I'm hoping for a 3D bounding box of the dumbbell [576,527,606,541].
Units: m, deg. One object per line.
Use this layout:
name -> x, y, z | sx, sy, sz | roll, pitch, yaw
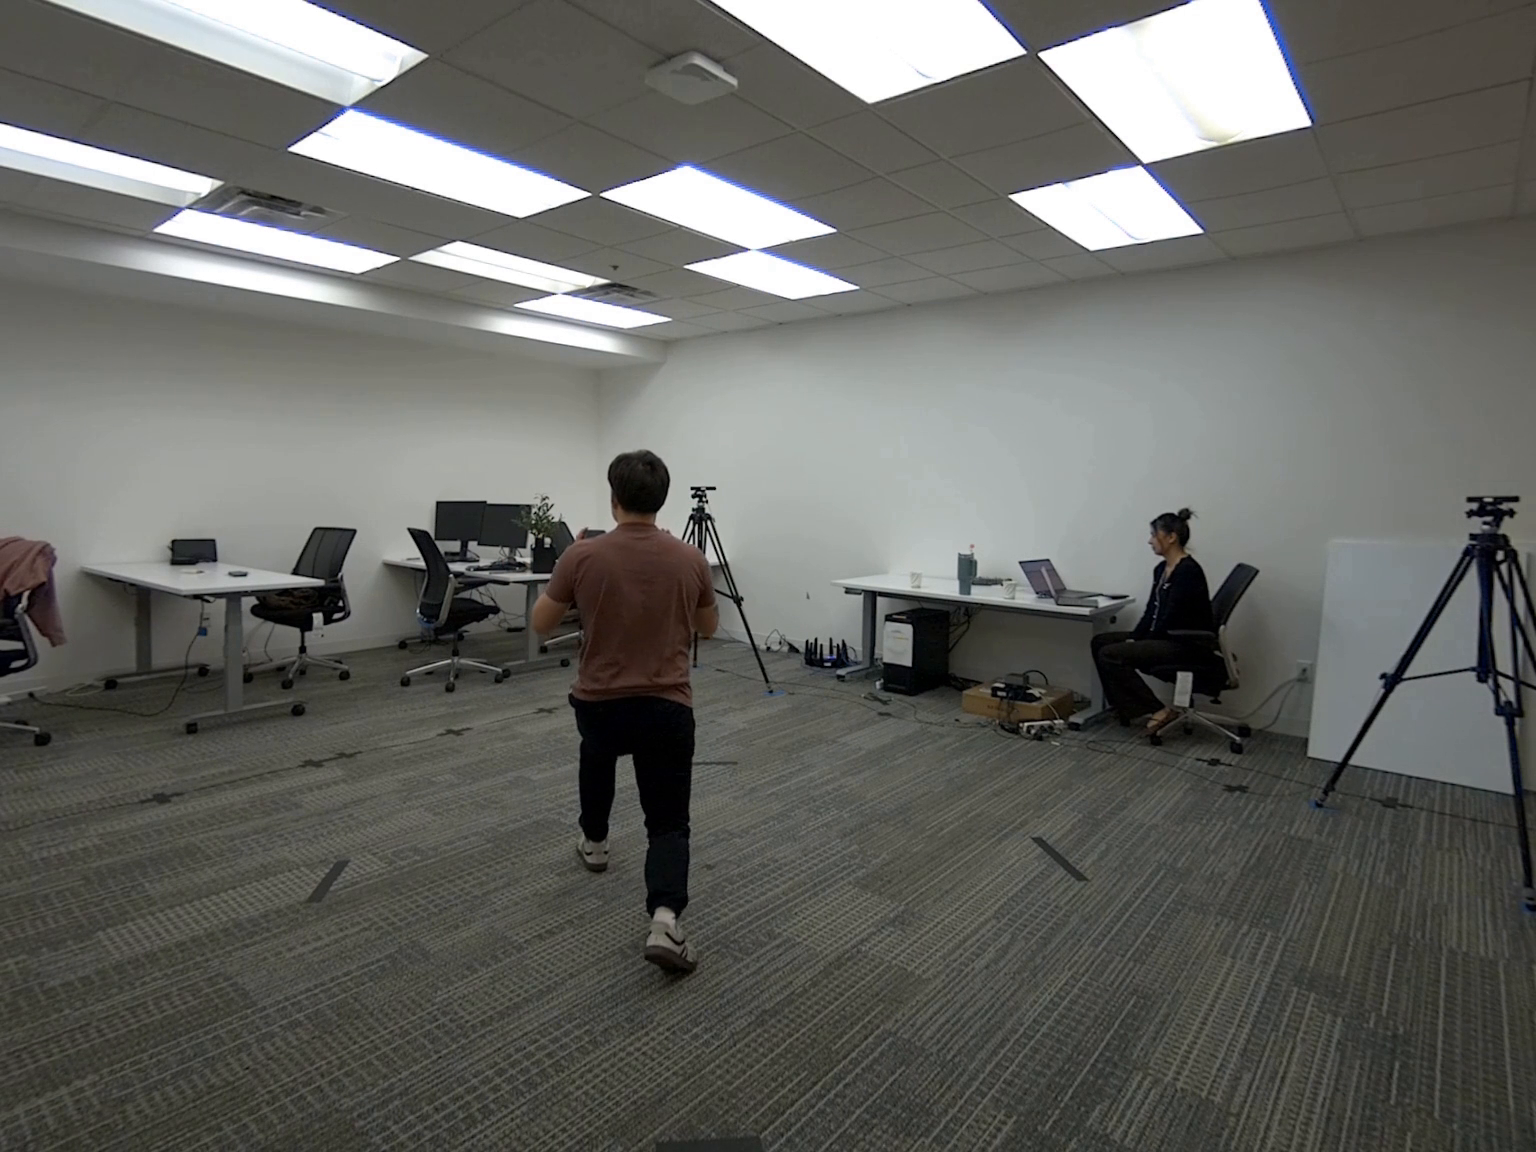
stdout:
dumbbell -> -0.505, -0.087, 2.892 | 0.291, 0.109, 0.124 | 0, 0, -9
